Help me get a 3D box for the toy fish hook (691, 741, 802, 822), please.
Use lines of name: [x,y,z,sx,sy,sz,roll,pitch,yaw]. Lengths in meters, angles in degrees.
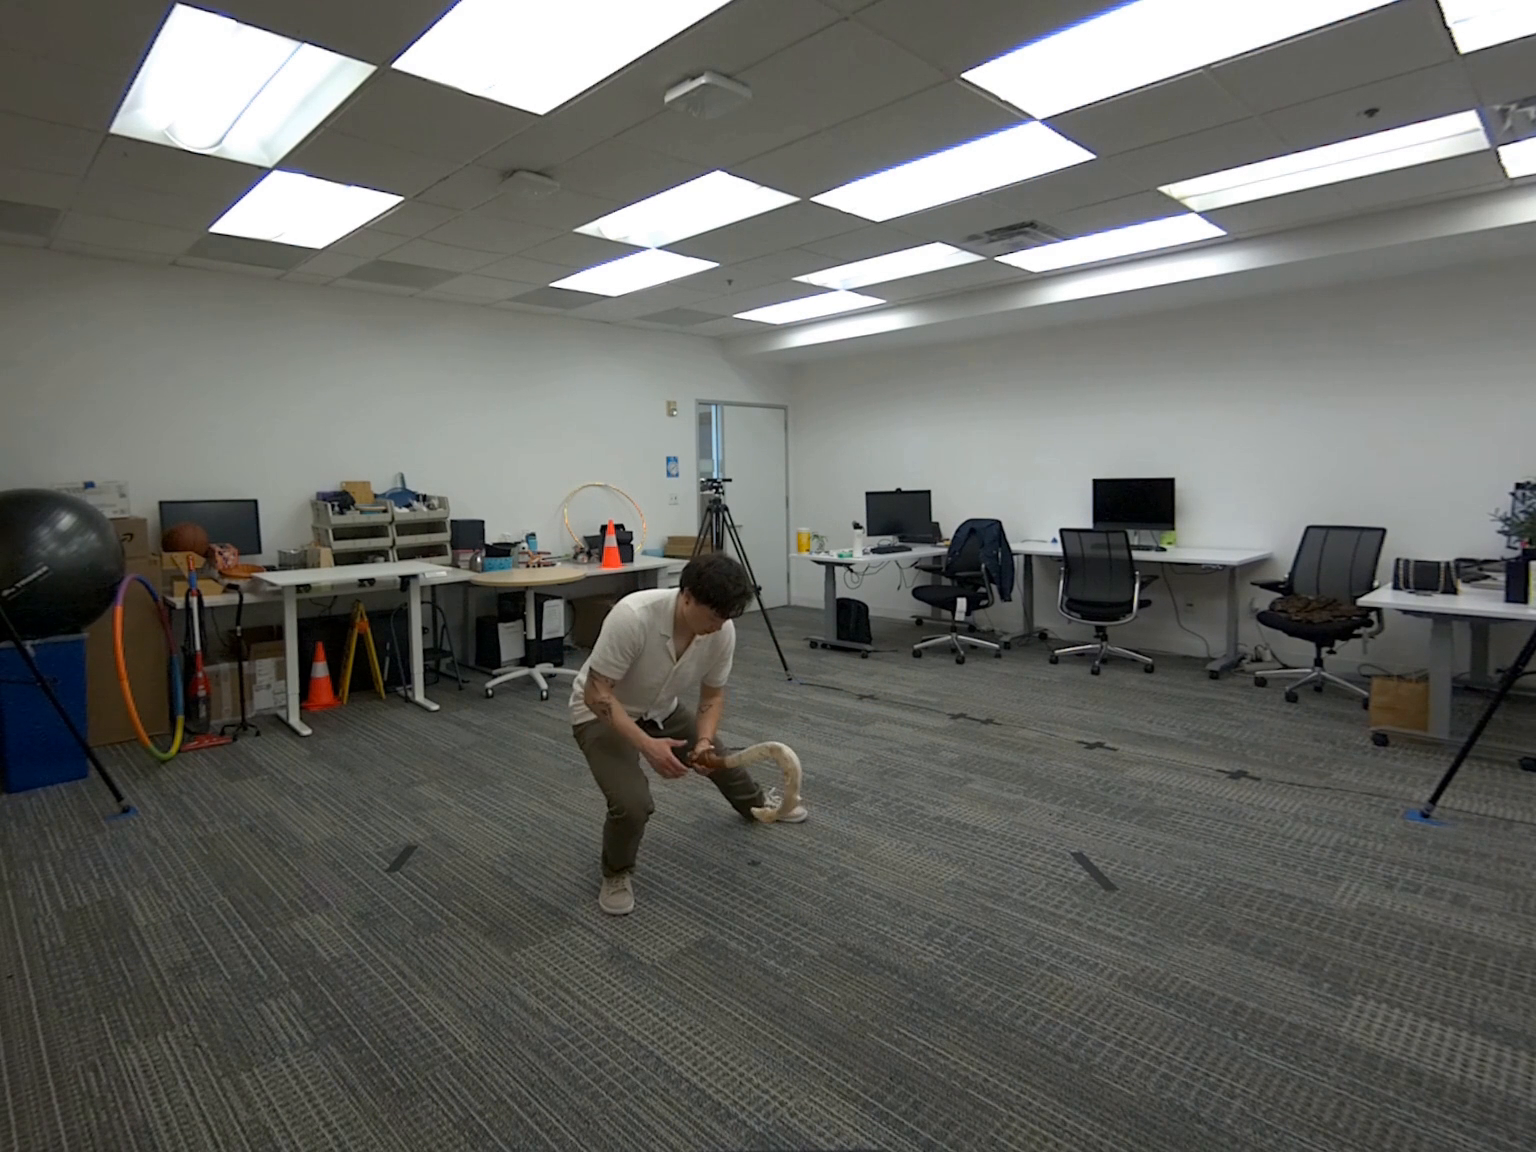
toy fish hook: [-0.084,0.615,2.586,0.047,0.228,0.517,16,-20,-39]
